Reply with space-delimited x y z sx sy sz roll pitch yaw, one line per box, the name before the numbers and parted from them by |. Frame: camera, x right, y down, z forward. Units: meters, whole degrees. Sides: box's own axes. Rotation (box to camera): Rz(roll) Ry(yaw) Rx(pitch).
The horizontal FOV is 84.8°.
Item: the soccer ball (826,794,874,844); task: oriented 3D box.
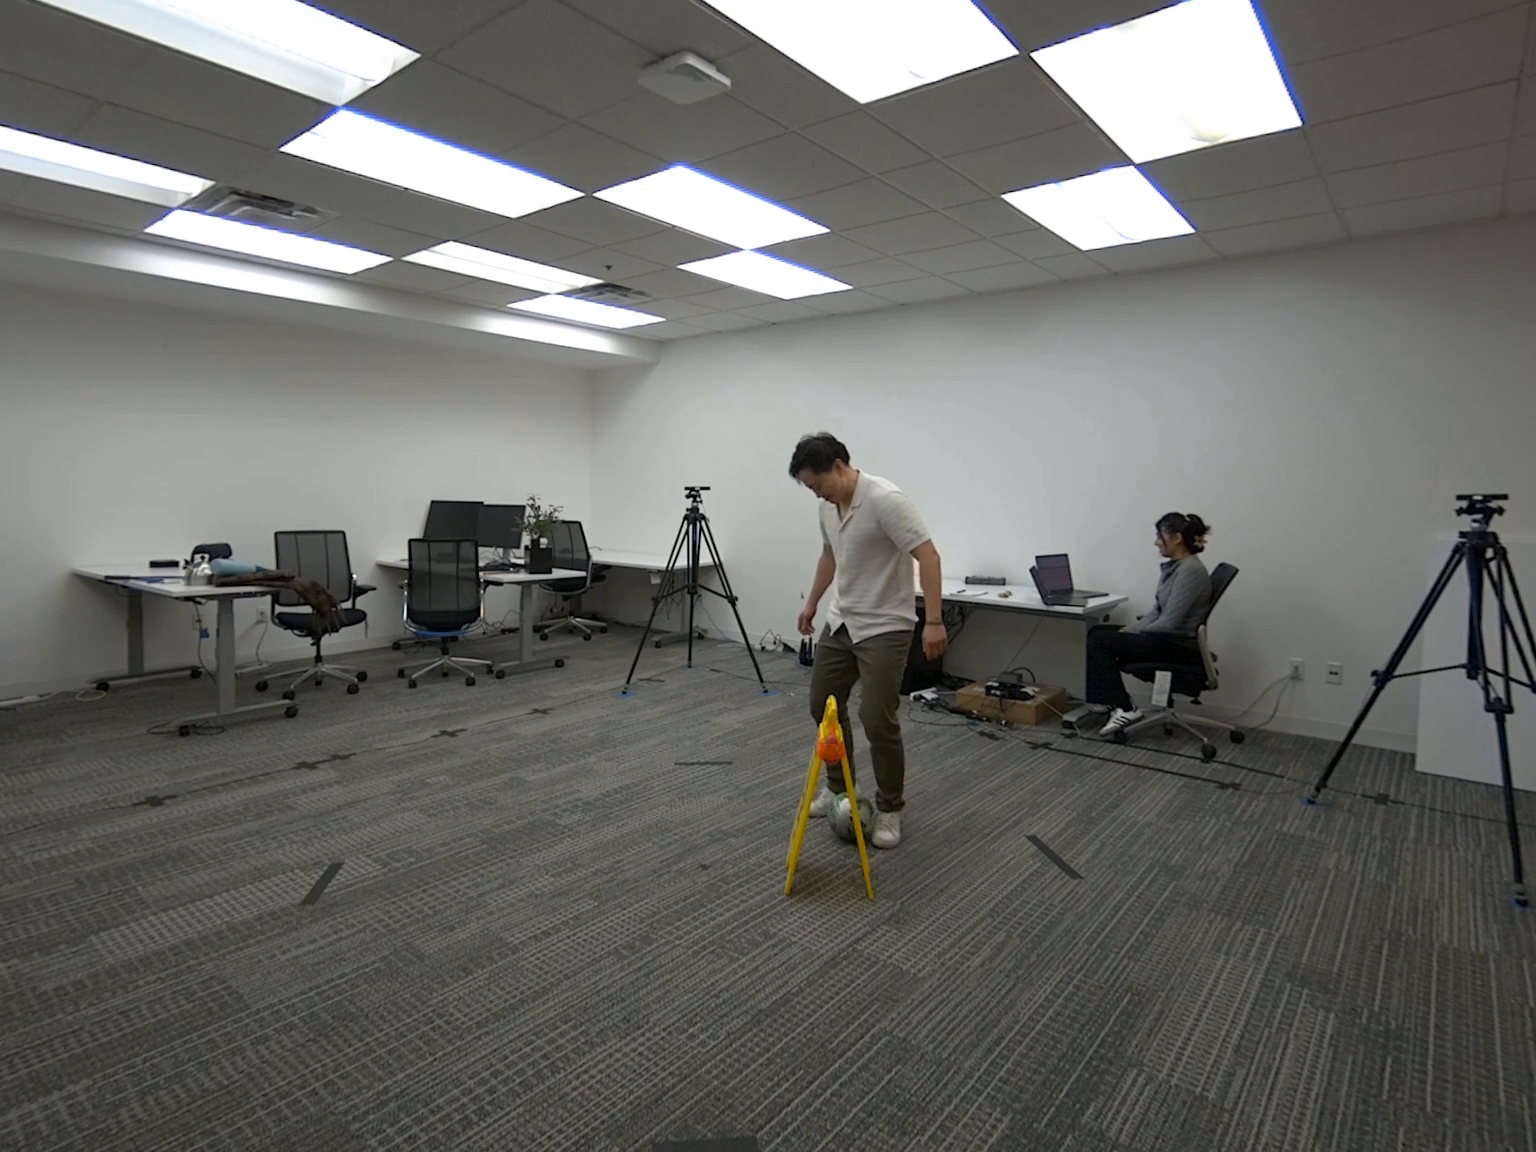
soccer ball | 0.323 0.953 3.402 0.187 0.187 0.188 0 4 -2
